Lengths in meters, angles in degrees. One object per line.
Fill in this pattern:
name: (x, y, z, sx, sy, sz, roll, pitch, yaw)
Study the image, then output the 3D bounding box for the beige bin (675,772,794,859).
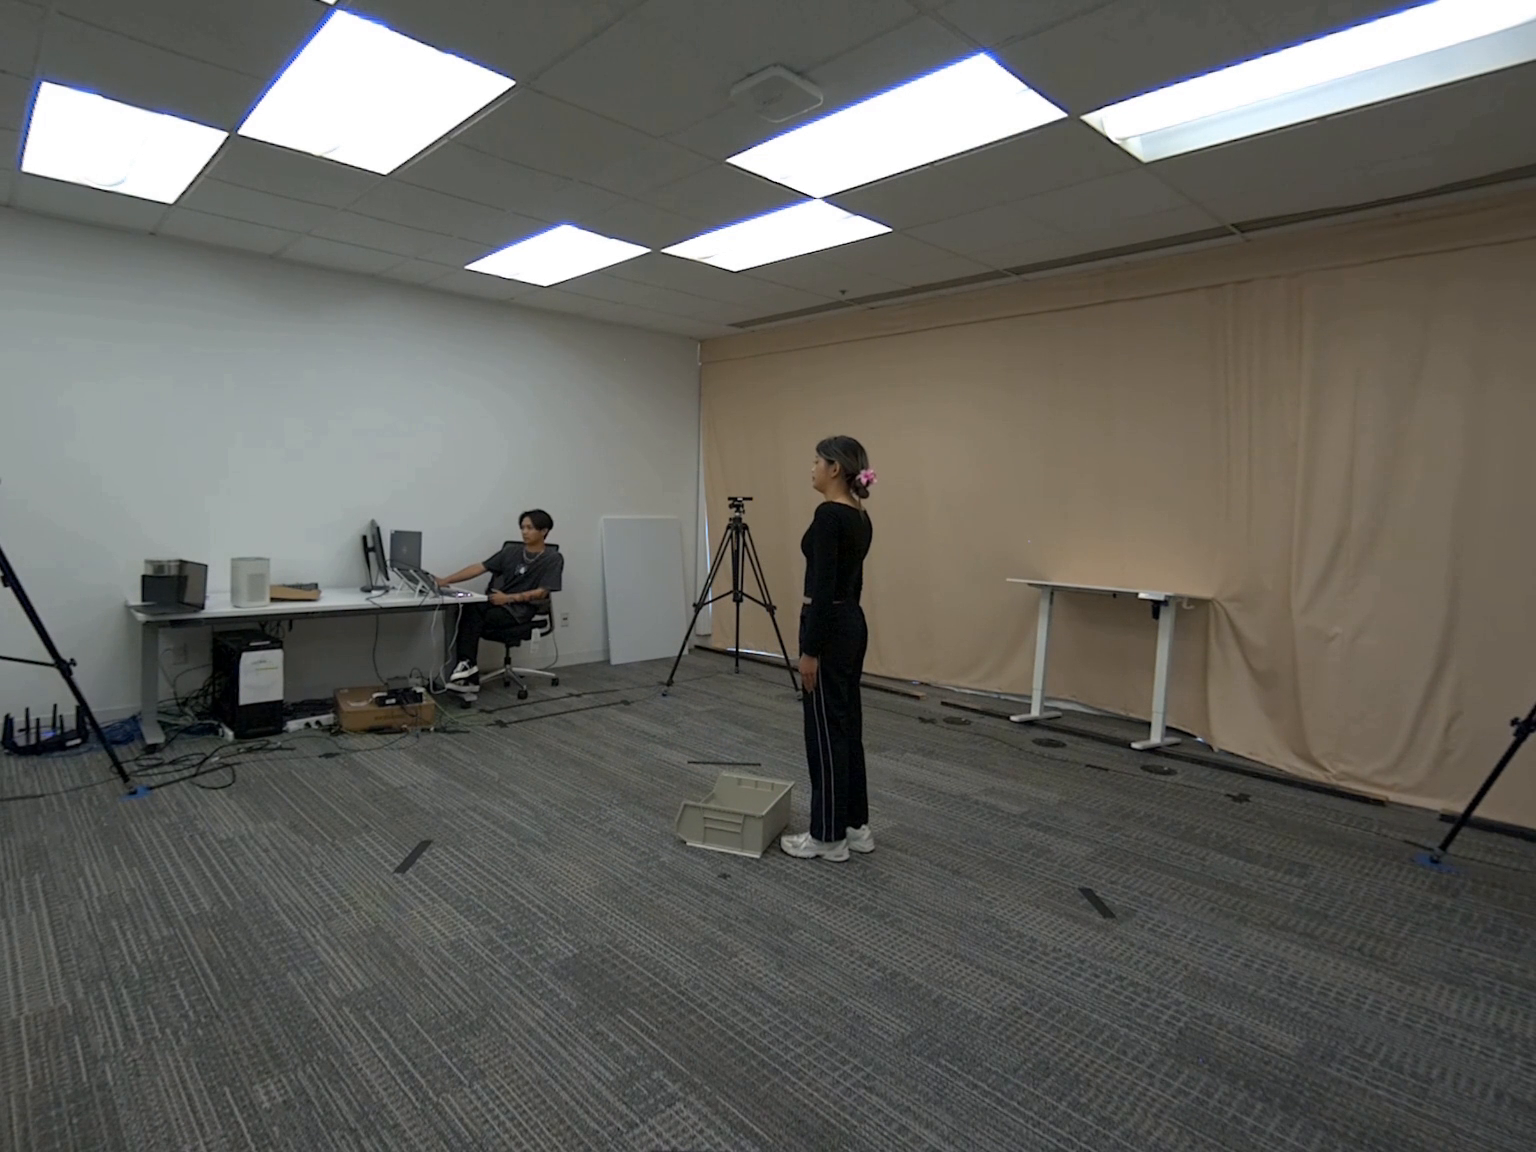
beige bin: (-0.140, 0.984, 3.513, 0.383, 0.188, 0.416, 4, 4, 19)
